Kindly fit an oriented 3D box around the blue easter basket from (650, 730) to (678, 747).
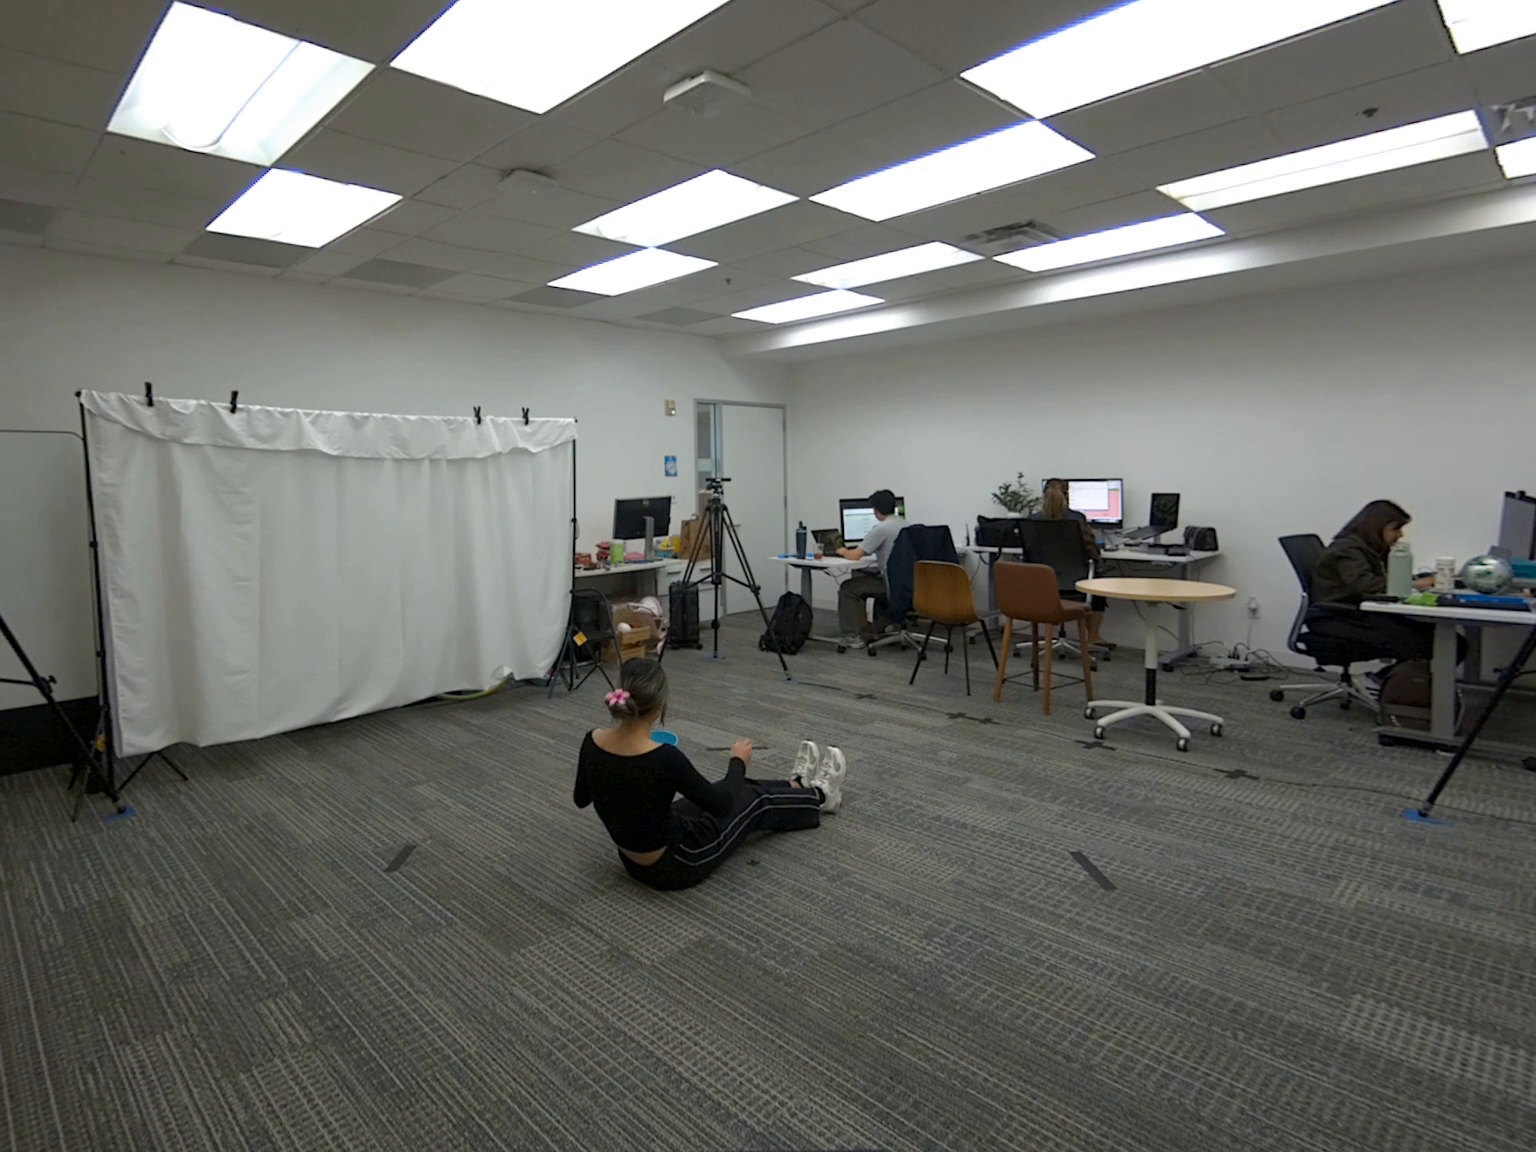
[{"bbox_3d":[-0.456,0.746,3.410,0.244,0.154,0.246,-7,12,0],"label":"blue easter basket"}]
